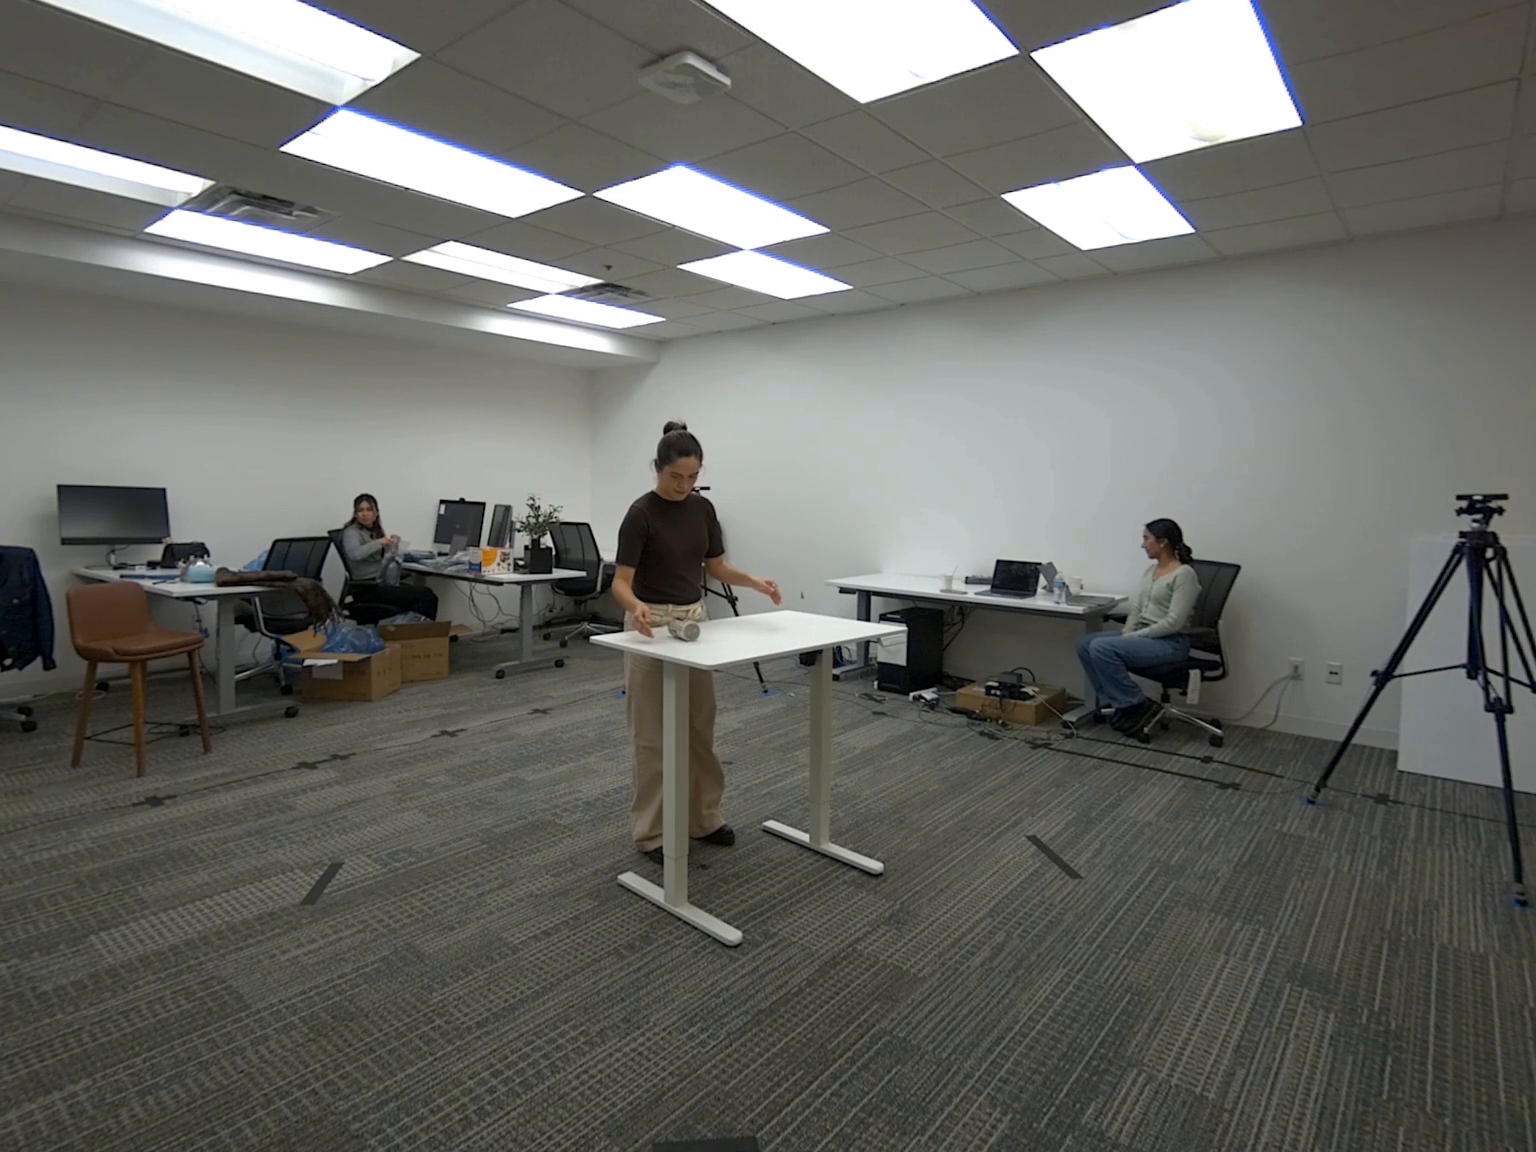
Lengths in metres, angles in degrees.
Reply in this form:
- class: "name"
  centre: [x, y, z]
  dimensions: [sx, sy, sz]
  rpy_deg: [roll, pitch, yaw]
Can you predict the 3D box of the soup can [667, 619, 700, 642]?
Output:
- class: "soup can"
  centre: [-0.286, 0.176, 2.843]
  dimensions: [0.065, 0.067, 0.124]
  rpy_deg: [-1, 3, -25]
